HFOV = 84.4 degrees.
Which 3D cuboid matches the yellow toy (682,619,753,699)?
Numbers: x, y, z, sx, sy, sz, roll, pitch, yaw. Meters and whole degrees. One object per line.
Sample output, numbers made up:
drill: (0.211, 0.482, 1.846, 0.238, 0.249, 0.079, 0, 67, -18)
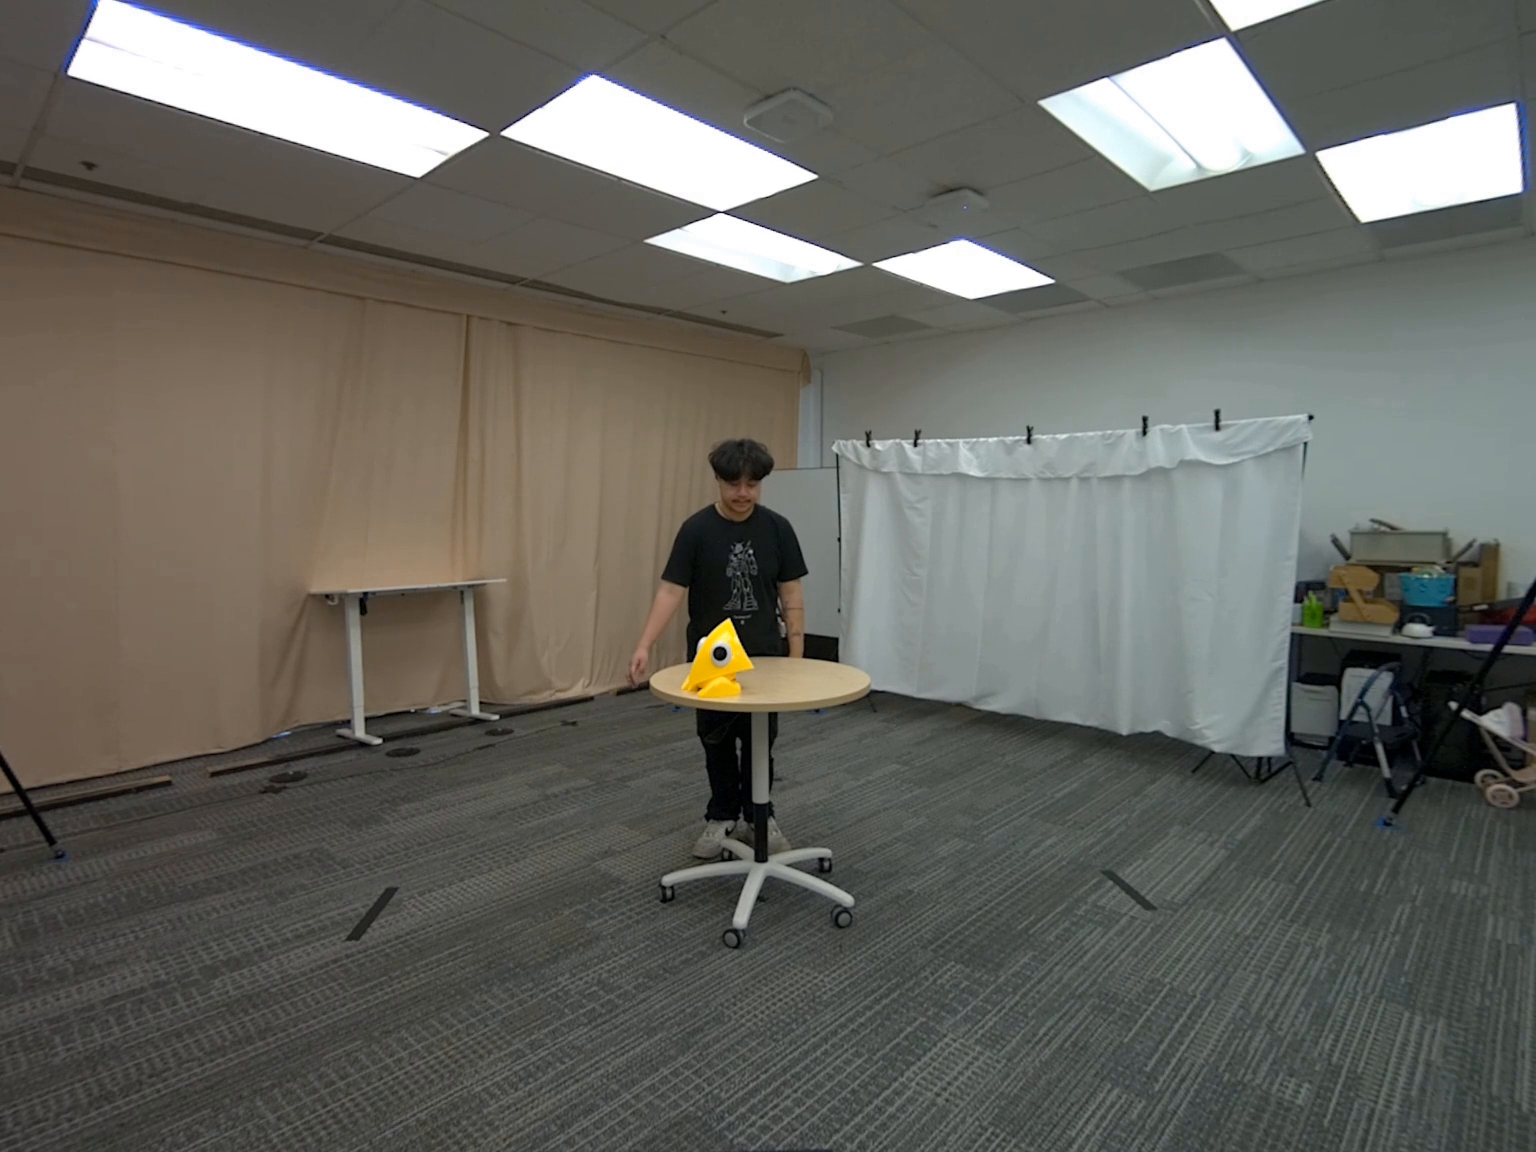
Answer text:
yellow toy: (-0.172, 0.258, 2.747, 0.188, 0.230, 0.211, -2, 4, -31)
